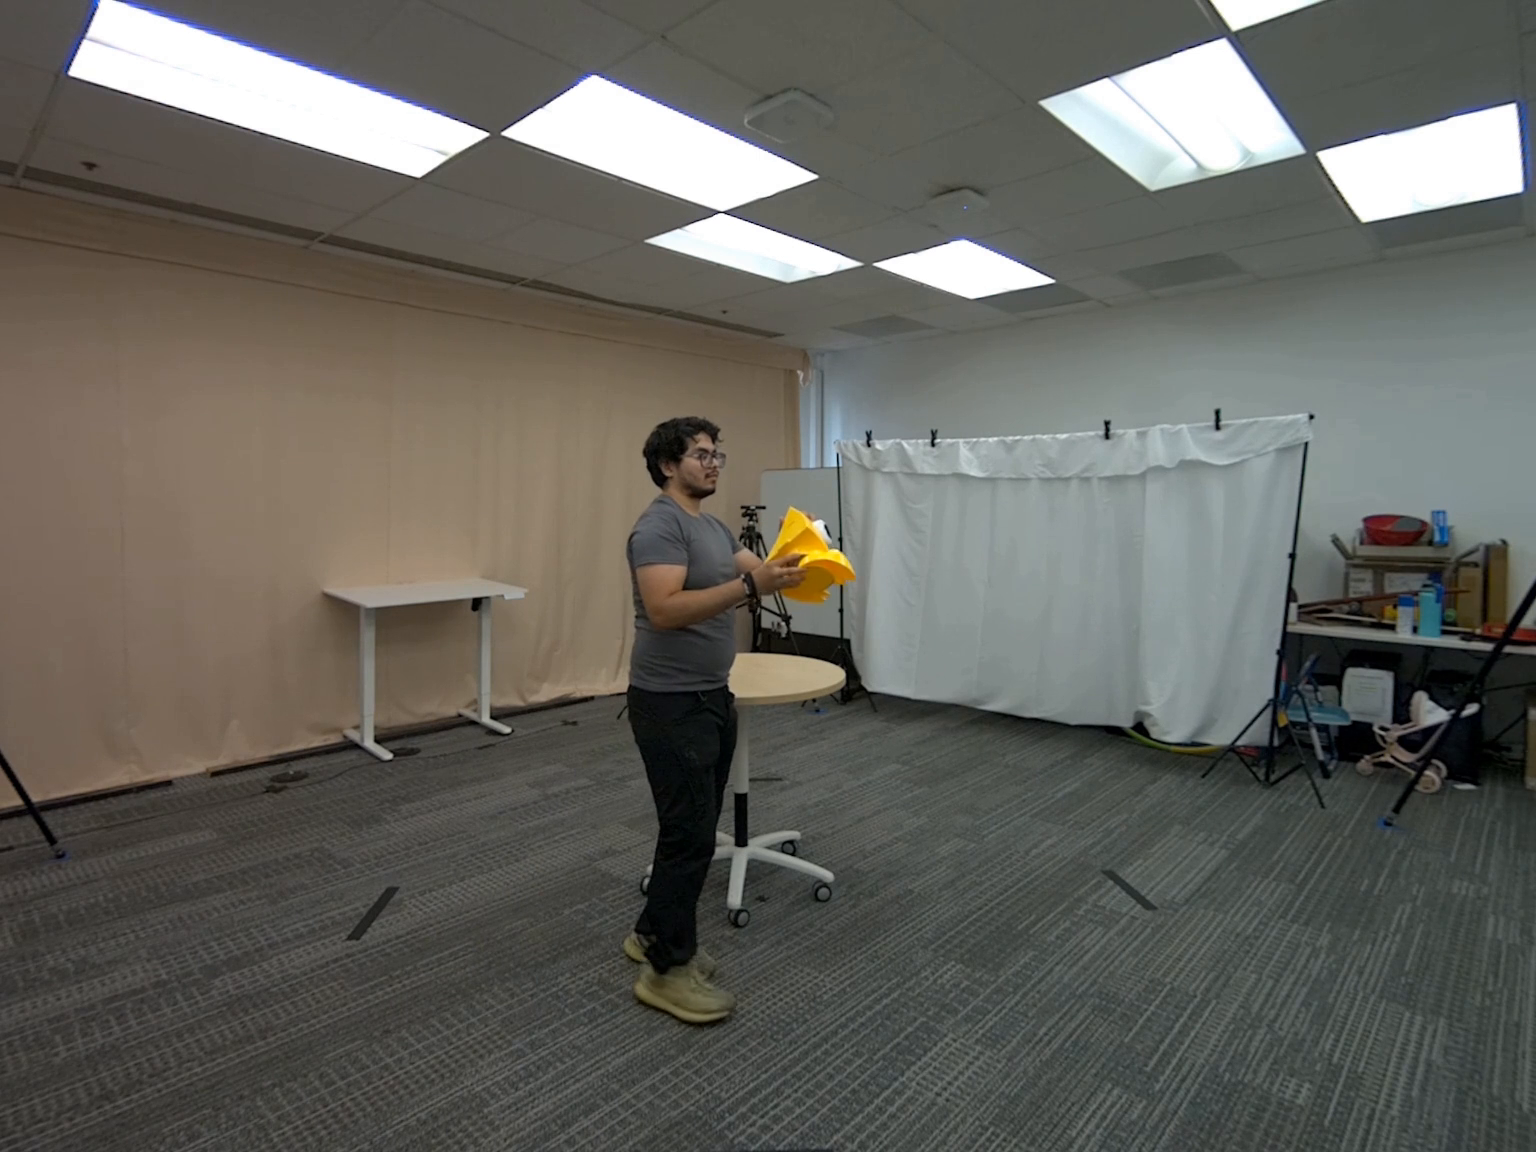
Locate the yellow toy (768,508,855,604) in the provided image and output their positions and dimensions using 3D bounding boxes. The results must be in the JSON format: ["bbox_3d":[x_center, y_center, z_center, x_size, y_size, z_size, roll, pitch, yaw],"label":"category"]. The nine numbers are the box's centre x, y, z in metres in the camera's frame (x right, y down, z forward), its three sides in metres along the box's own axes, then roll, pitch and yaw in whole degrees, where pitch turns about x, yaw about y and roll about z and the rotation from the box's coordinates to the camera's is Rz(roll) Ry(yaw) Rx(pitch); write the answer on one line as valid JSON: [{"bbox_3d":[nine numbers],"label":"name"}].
[{"bbox_3d":[0.120,-0.077,2.297,0.187,0.235,0.207,20,-41,-29],"label":"yellow toy"}]
